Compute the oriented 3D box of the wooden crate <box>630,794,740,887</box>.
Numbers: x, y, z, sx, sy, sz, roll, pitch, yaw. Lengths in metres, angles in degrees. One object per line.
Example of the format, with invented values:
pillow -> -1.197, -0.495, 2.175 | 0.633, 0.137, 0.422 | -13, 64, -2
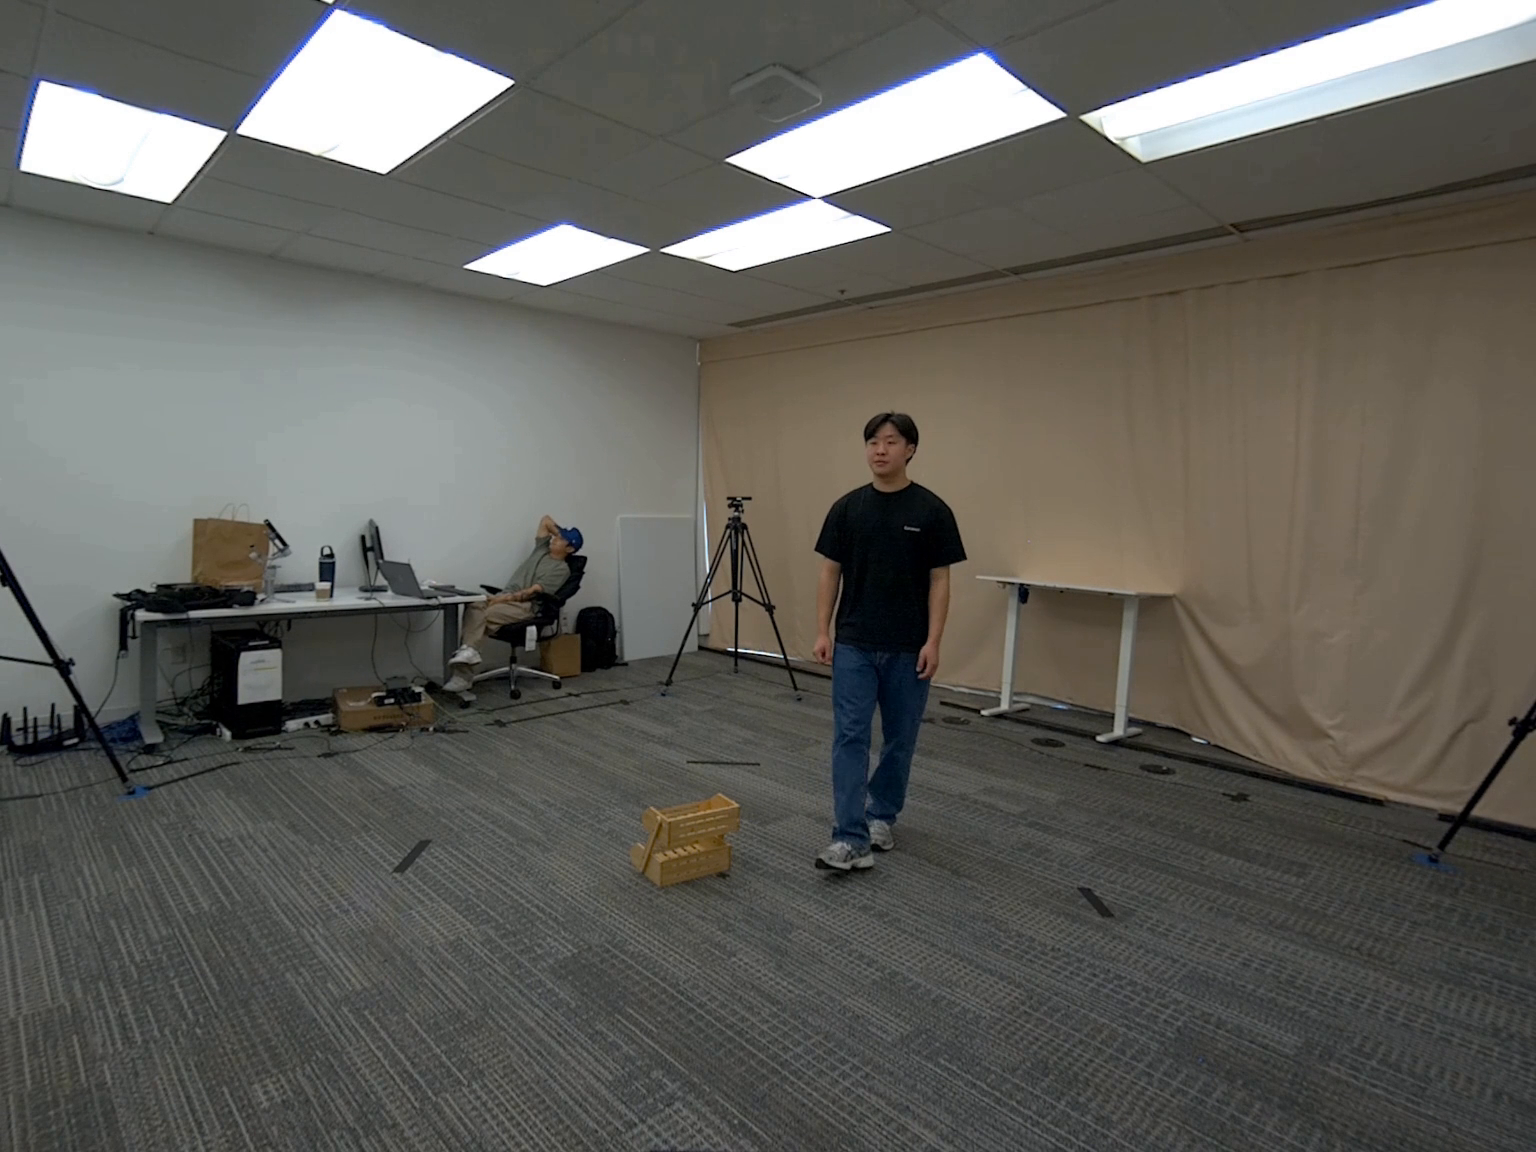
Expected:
wooden crate -> -0.320, 0.964, 3.153 | 0.317, 0.272, 0.309 | -2, 6, -34
